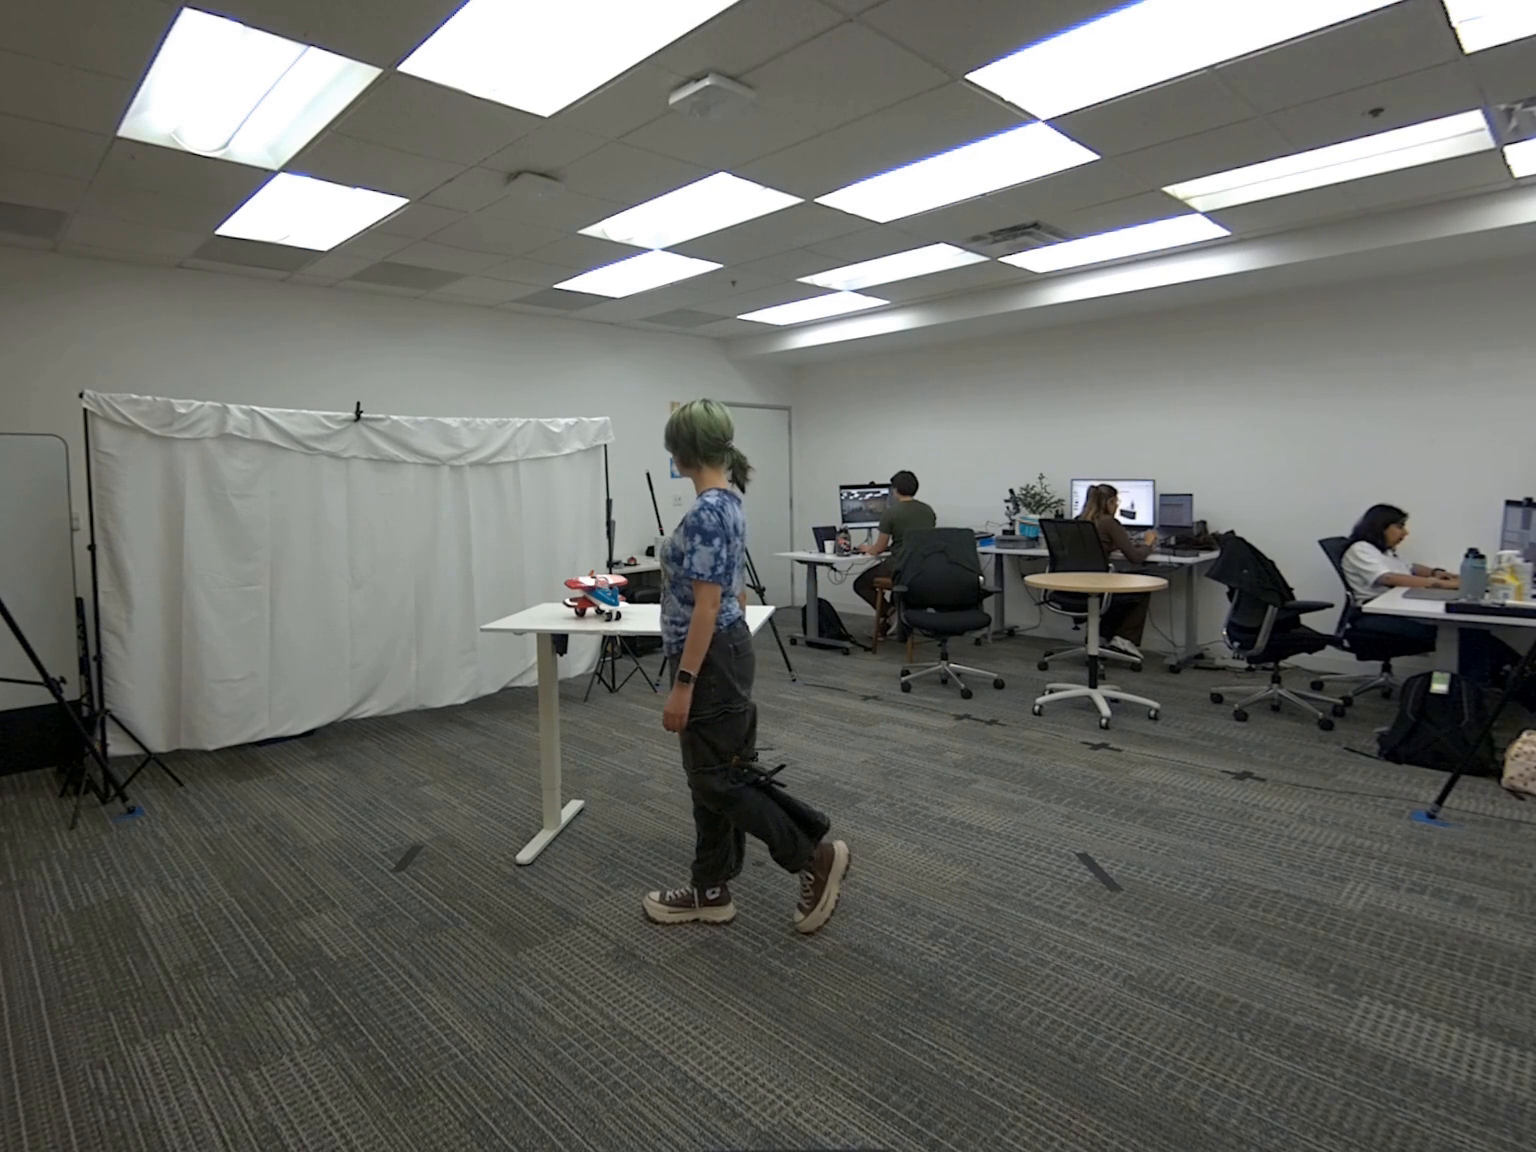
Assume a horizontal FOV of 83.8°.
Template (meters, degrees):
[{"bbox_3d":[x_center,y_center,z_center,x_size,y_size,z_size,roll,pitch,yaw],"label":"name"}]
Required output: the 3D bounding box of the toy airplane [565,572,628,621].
[{"bbox_3d":[-0.631,0.083,3.270,0.265,0.155,0.247,1,7,23],"label":"toy airplane"}]
